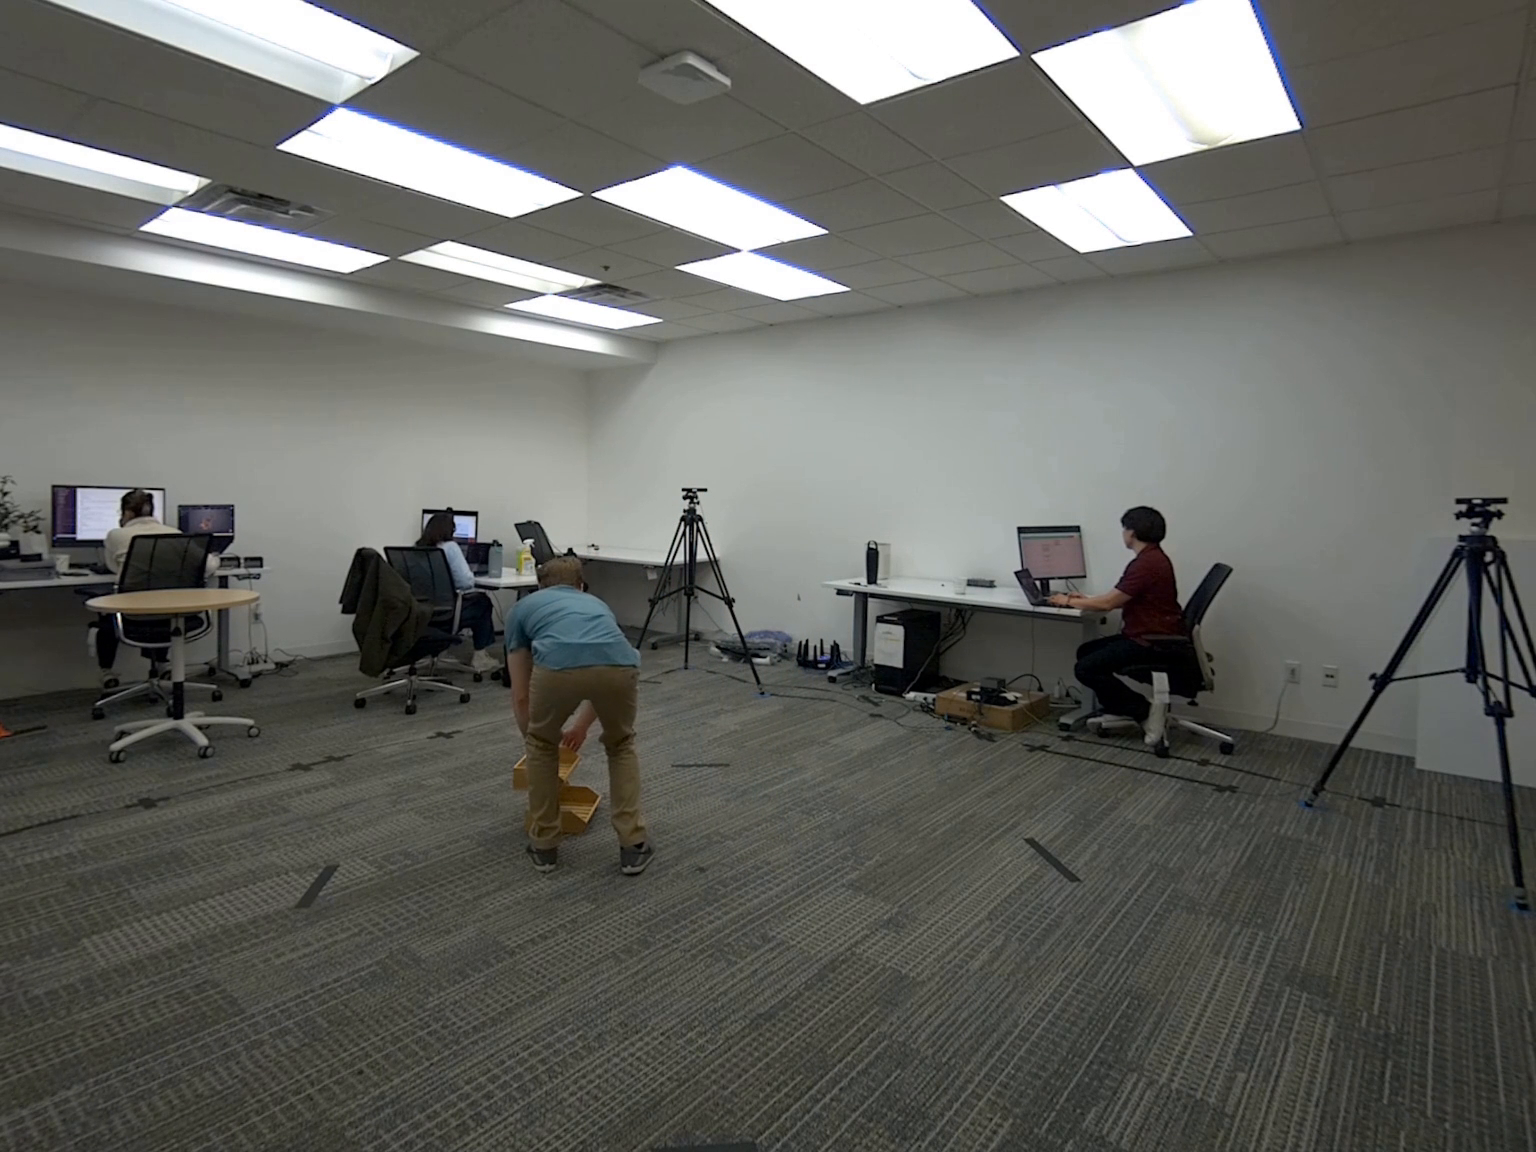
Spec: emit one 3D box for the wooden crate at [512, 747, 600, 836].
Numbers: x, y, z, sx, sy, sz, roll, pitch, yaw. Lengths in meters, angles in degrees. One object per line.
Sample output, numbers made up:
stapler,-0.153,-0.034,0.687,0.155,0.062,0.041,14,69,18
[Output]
wooden crate,-0.888,0.883,3.564,0.303,0.272,0.325,-1,4,1
